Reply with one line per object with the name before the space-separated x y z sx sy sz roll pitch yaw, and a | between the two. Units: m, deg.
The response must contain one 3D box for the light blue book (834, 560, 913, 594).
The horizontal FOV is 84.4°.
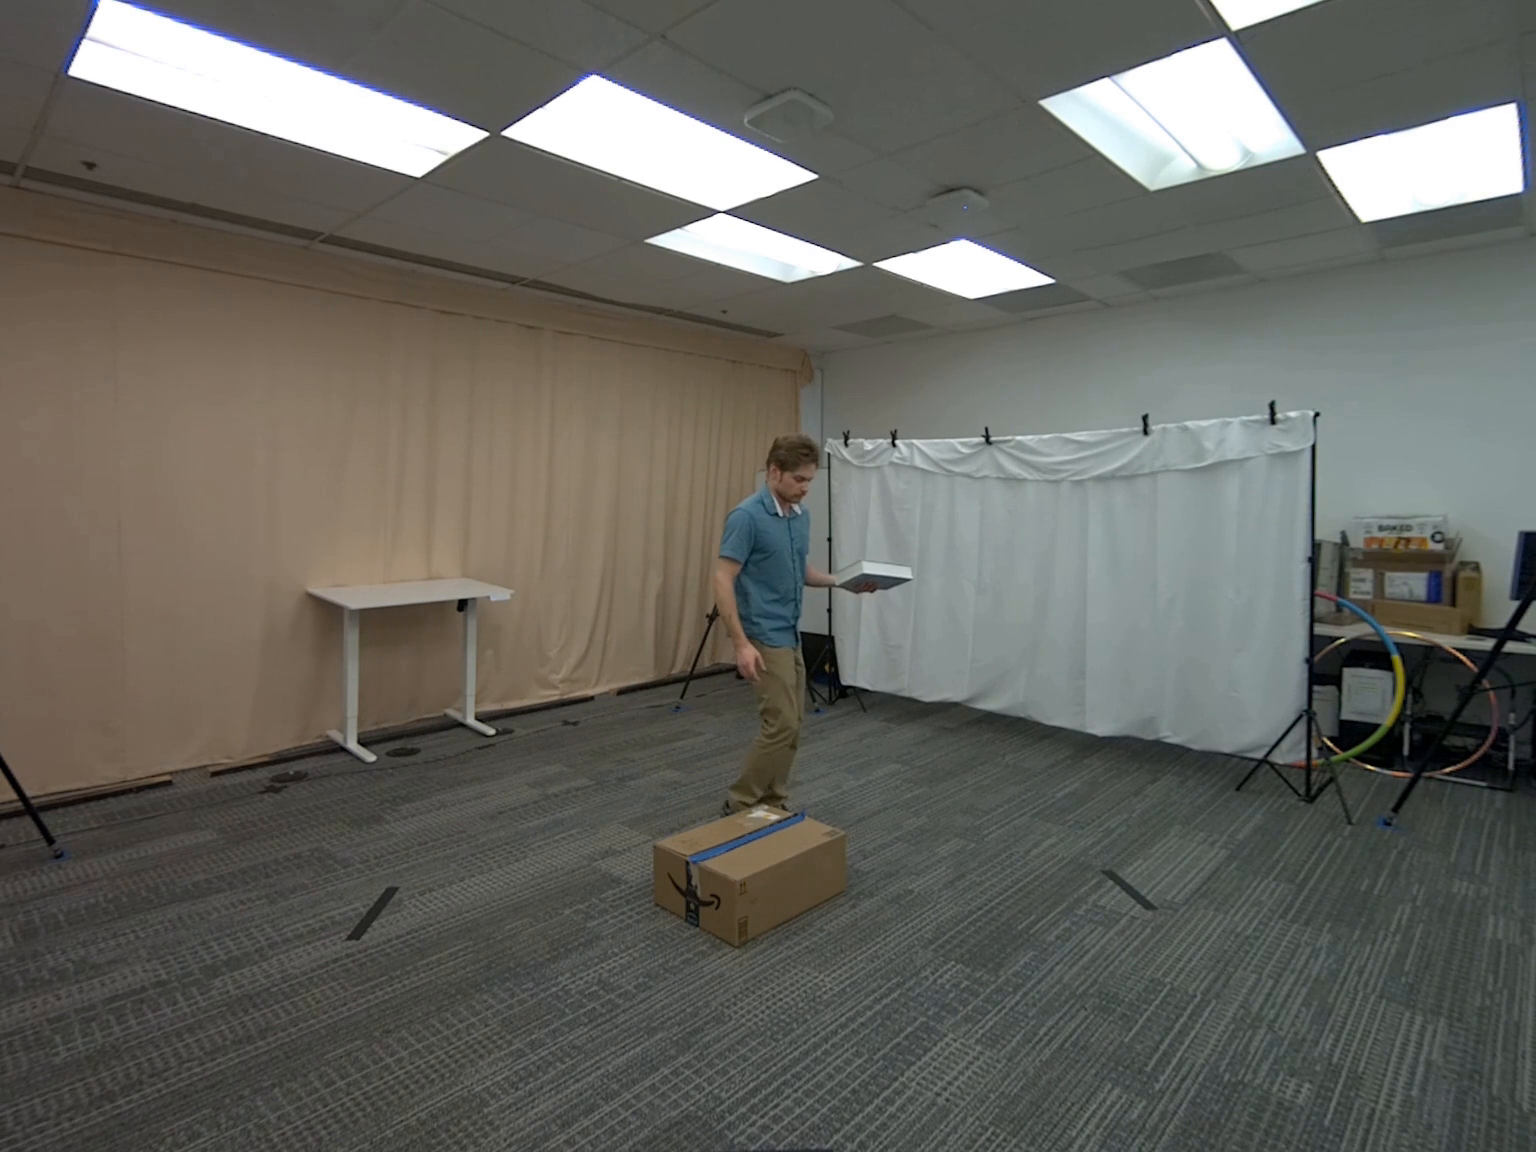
light blue book | 0.435 0.009 3.465 0.254 0.060 0.194 8 -22 -28
